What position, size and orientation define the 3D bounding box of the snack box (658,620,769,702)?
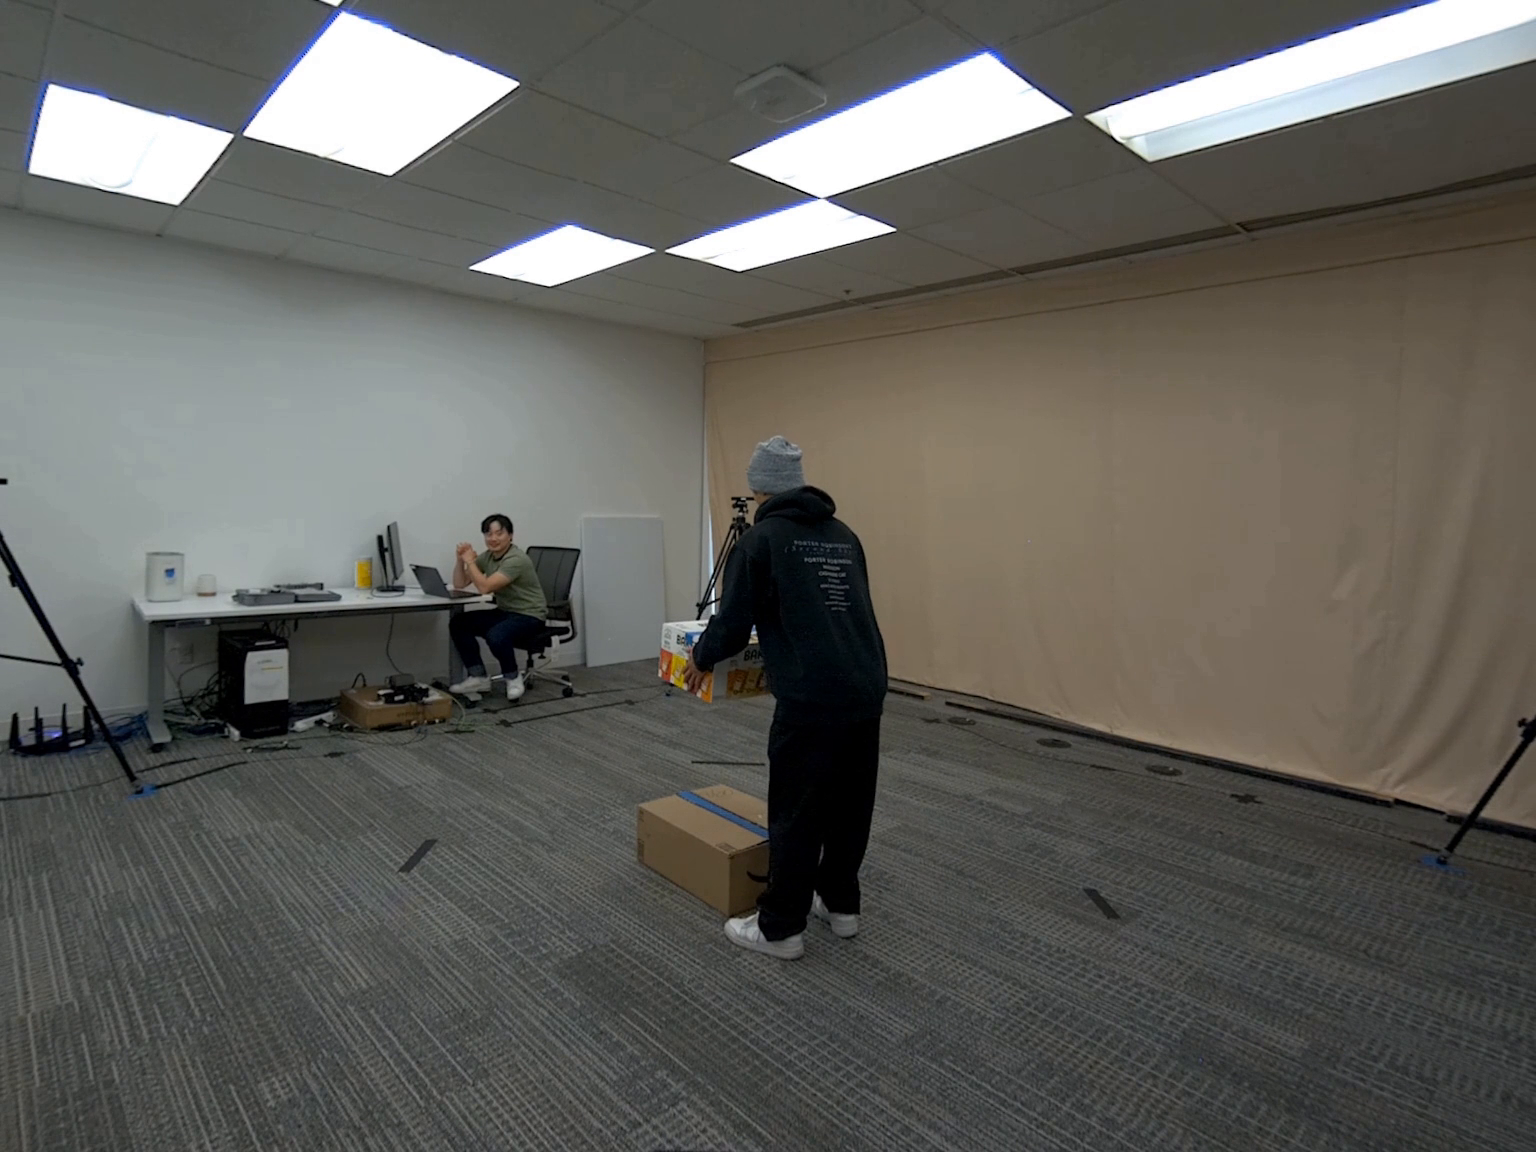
[{"bbox_3d":[-0.142,0.300,3.095,0.396,0.204,0.350,-2,12,-38],"label":"snack box"}]
